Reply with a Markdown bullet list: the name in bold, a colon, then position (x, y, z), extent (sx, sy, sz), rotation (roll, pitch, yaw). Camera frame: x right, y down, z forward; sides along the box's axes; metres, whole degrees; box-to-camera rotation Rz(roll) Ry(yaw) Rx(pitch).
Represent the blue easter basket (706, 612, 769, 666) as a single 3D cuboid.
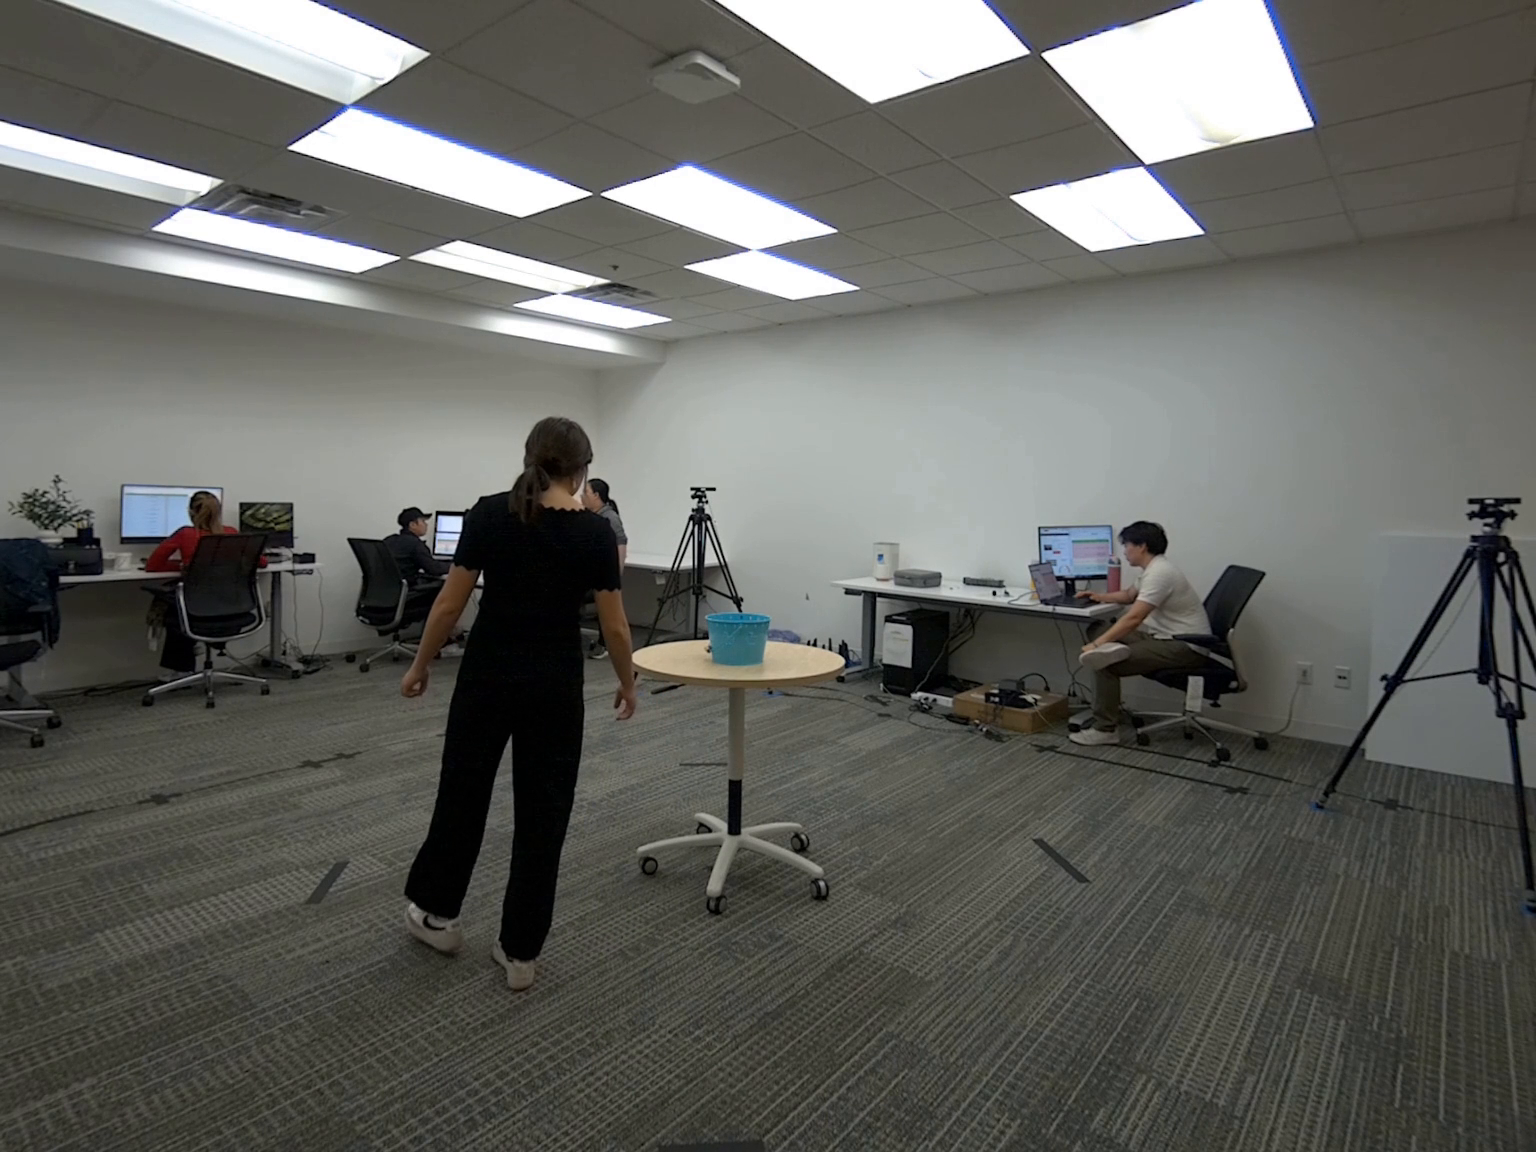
- **blue easter basket**: position (-0.116, 0.221, 3.002), extent (0.243, 0.155, 0.245), rotation (1, 5, -2)
